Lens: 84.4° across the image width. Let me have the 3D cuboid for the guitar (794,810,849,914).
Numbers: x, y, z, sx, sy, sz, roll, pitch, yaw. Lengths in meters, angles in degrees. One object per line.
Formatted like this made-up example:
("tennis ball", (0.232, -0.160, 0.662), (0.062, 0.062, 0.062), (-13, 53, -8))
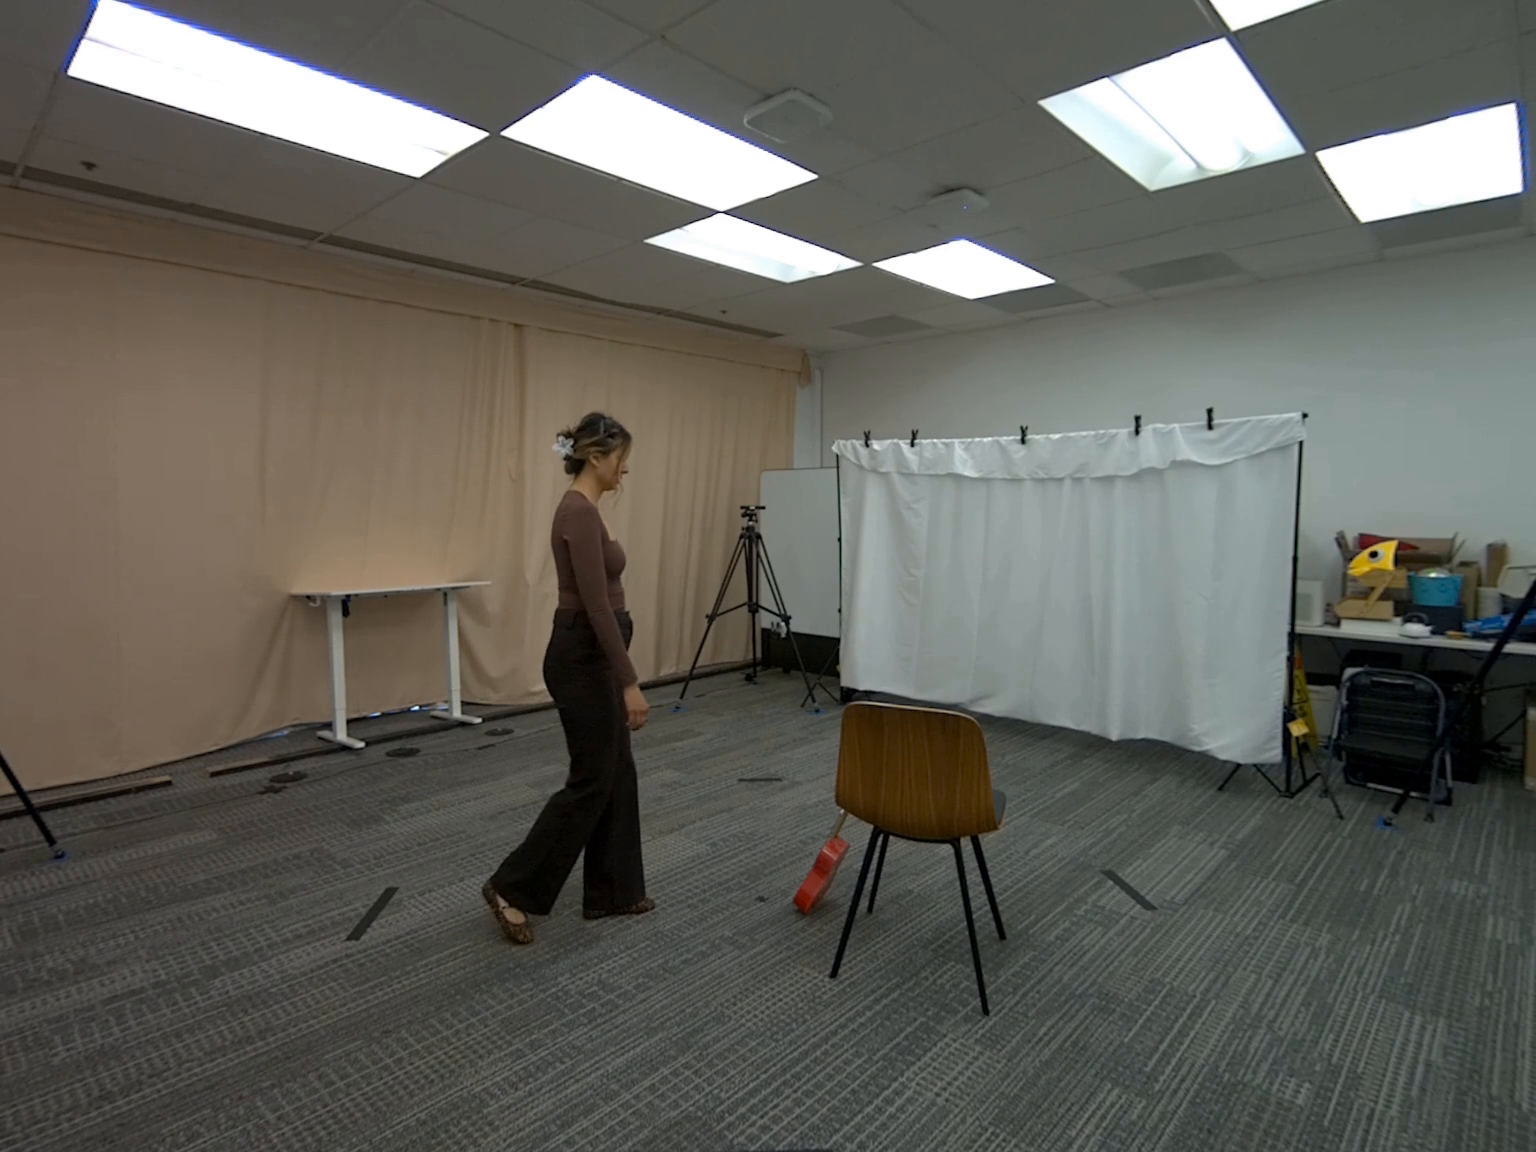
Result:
("guitar", (0.217, 0.929, 2.839), (0.073, 0.496, 0.188), (30, 22, 22))
